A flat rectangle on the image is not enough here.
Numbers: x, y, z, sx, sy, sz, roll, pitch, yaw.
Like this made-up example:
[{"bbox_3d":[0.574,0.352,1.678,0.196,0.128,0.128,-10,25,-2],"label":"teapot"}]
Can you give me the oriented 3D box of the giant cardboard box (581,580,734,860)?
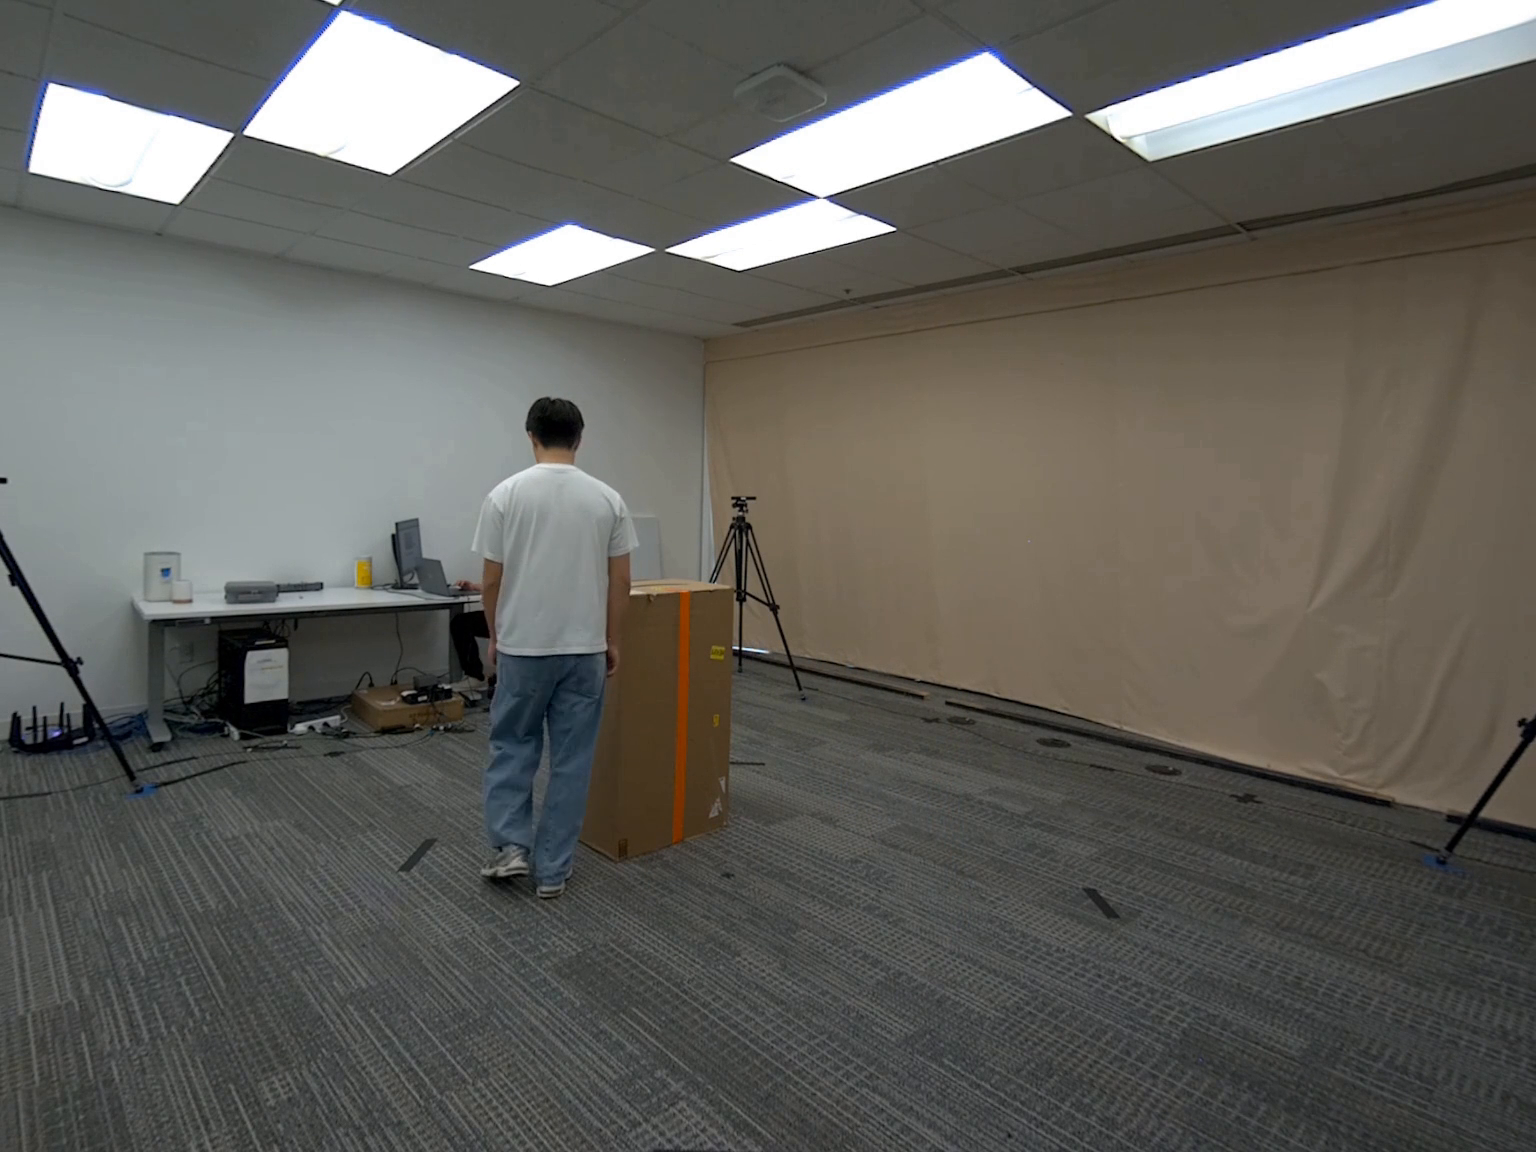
[{"bbox_3d":[-0.508,0.554,3.513,0.564,1.023,0.437,-2,5,-44],"label":"giant cardboard box"}]
